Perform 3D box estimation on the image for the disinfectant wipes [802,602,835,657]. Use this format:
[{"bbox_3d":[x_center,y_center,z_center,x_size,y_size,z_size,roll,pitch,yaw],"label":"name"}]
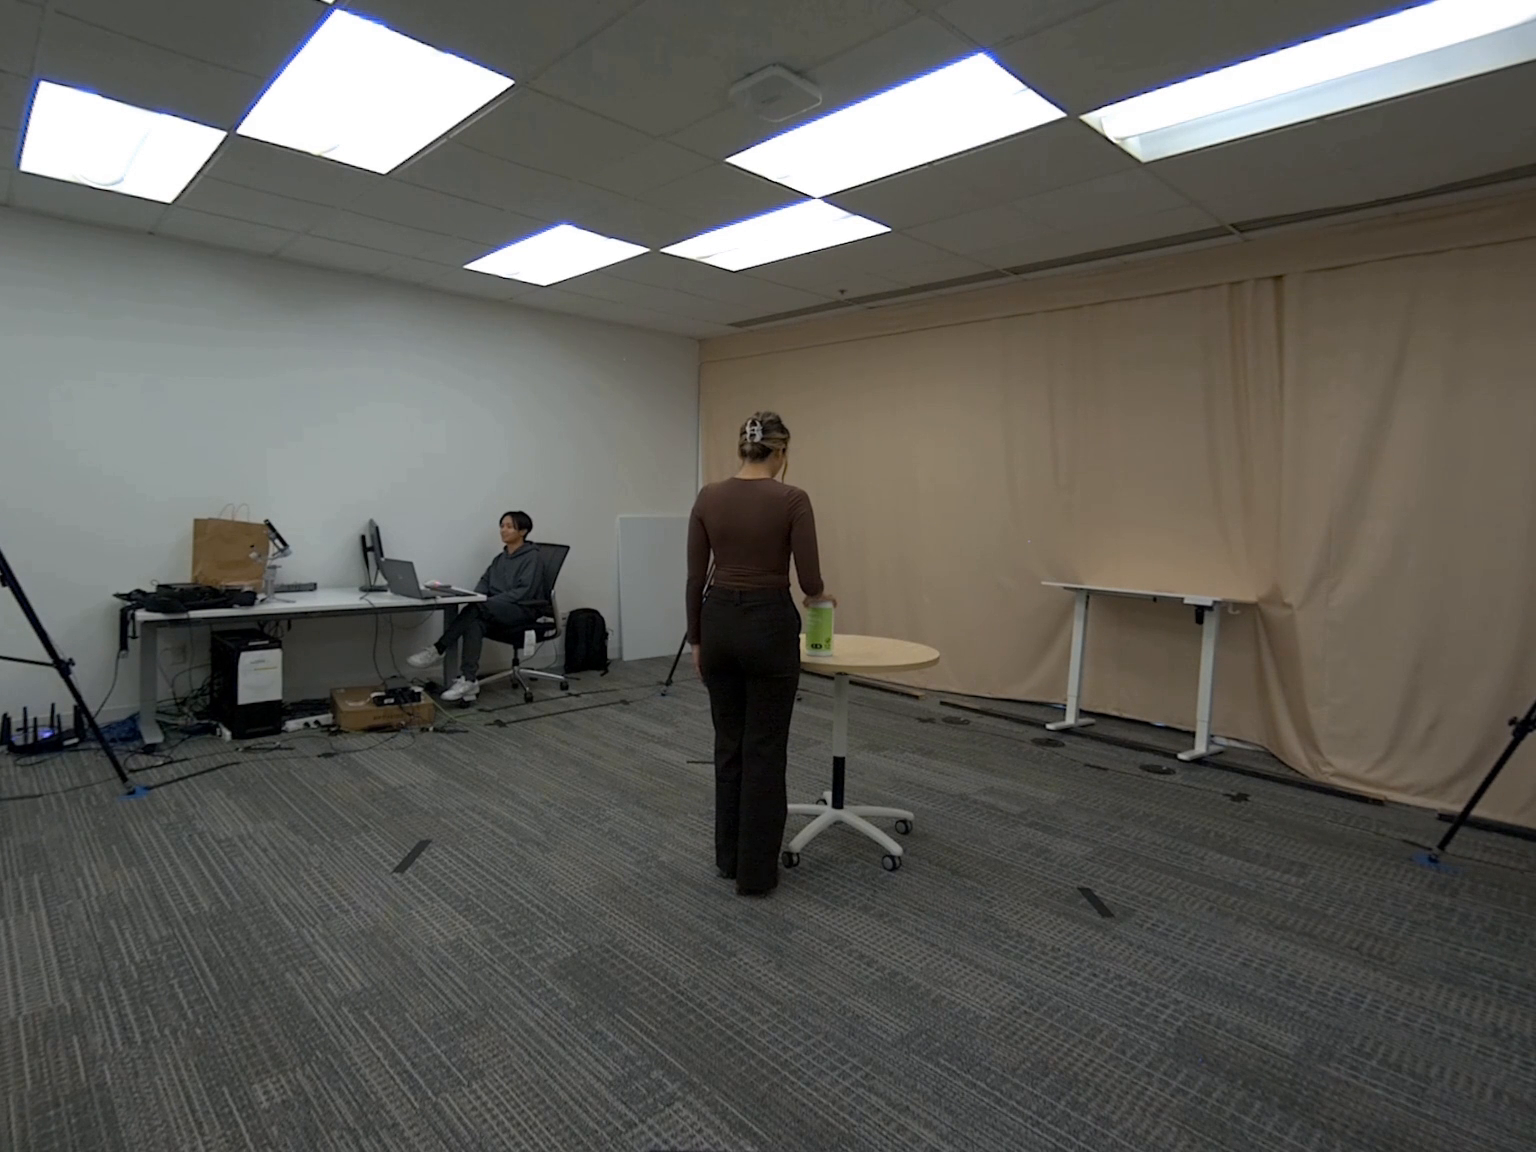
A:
[{"bbox_3d":[0.189,0.199,3.241,0.118,0.217,0.118,0,4,-1],"label":"disinfectant wipes"}]
